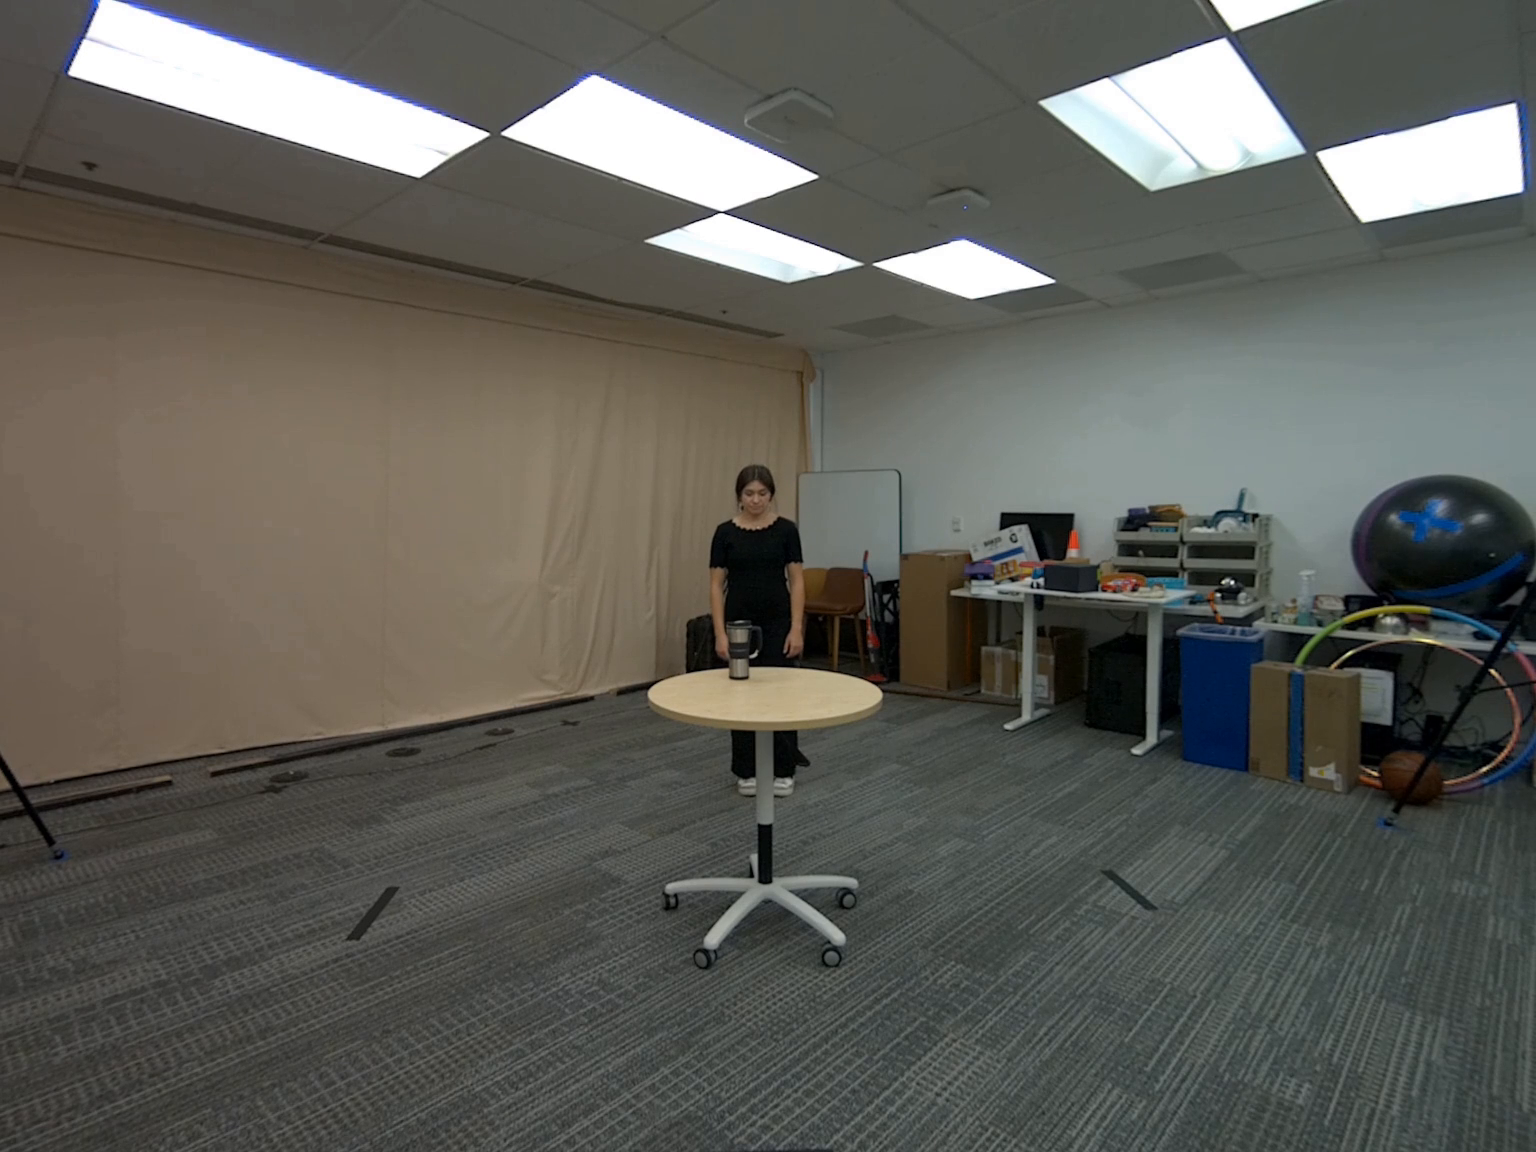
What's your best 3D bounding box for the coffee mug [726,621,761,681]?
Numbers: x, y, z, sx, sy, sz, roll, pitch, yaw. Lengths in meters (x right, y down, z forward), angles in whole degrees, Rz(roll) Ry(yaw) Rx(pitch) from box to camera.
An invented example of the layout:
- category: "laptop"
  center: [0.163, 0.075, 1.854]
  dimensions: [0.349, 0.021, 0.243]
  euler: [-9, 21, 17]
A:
- category: "coffee mug"
  center: [-0.085, 0.261, 2.951]
  dimensions: [0.126, 0.203, 0.085]
  euler: [-1, -1, 42]
